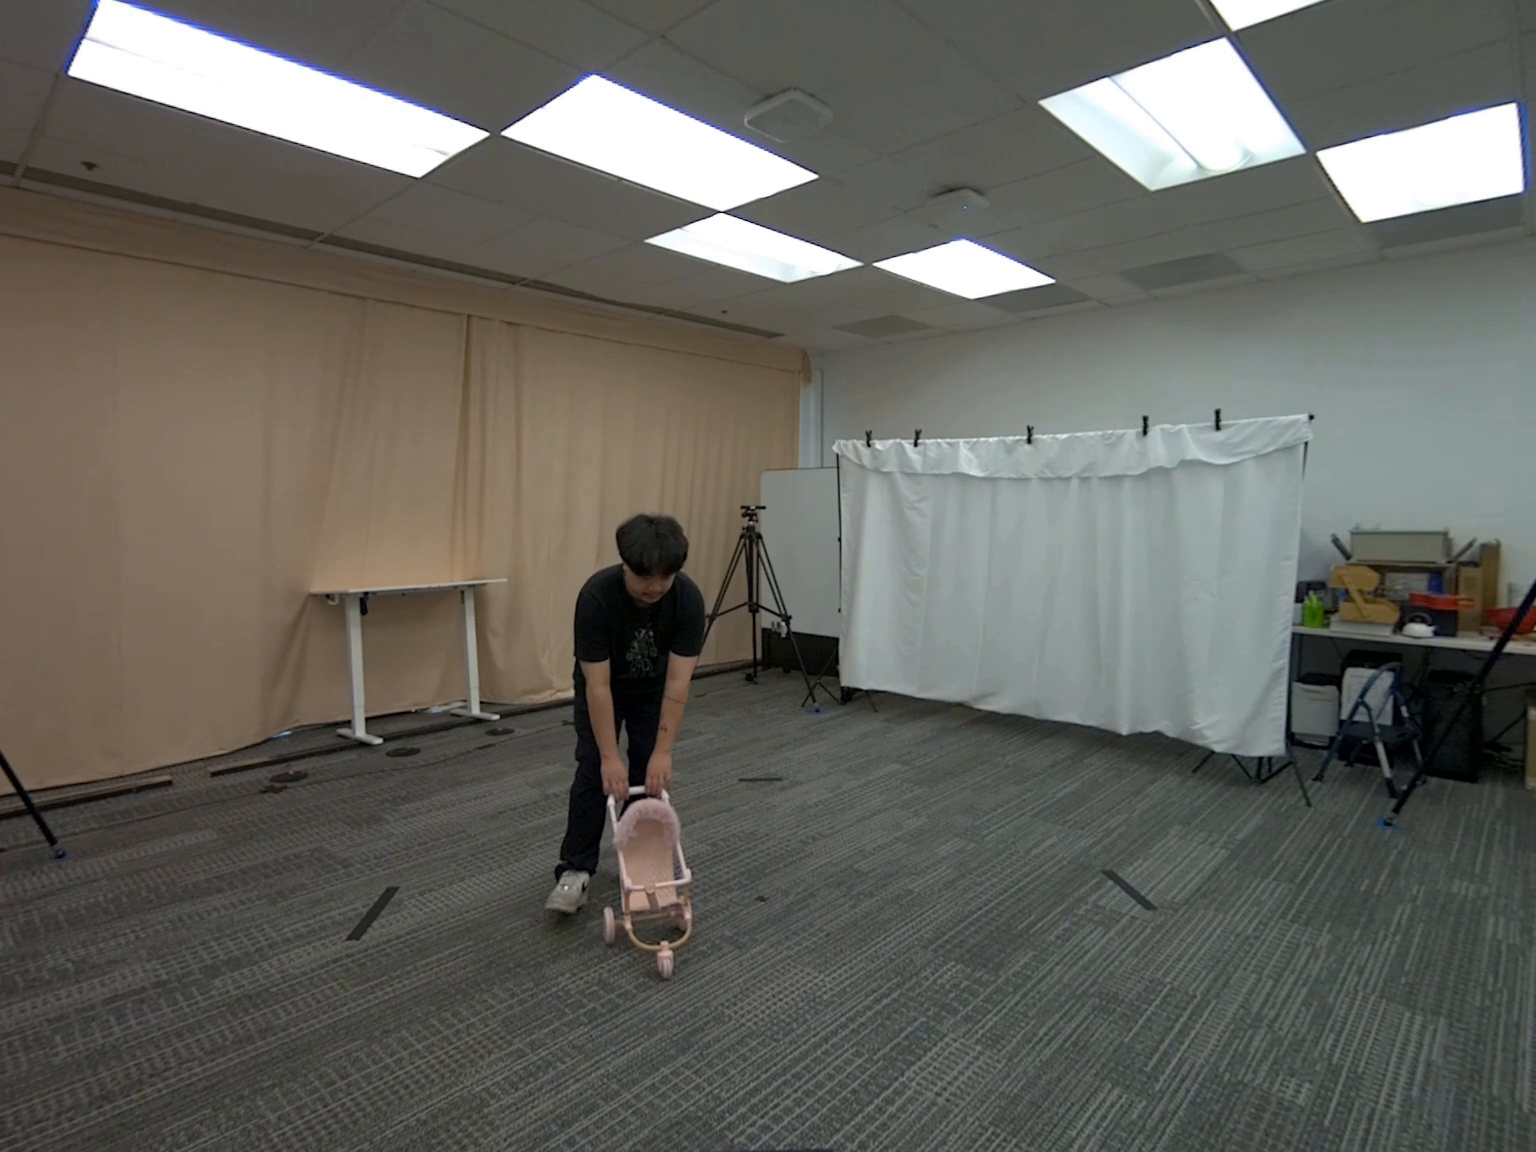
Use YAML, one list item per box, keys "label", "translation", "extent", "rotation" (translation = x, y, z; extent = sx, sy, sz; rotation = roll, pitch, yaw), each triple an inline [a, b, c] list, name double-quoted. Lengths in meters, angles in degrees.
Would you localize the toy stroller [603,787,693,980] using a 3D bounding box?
- label: "toy stroller"
  translation: [-0.368, 0.946, 2.654]
  extent: [0.277, 0.539, 0.343]
  rotation: [-1, -12, -15]
